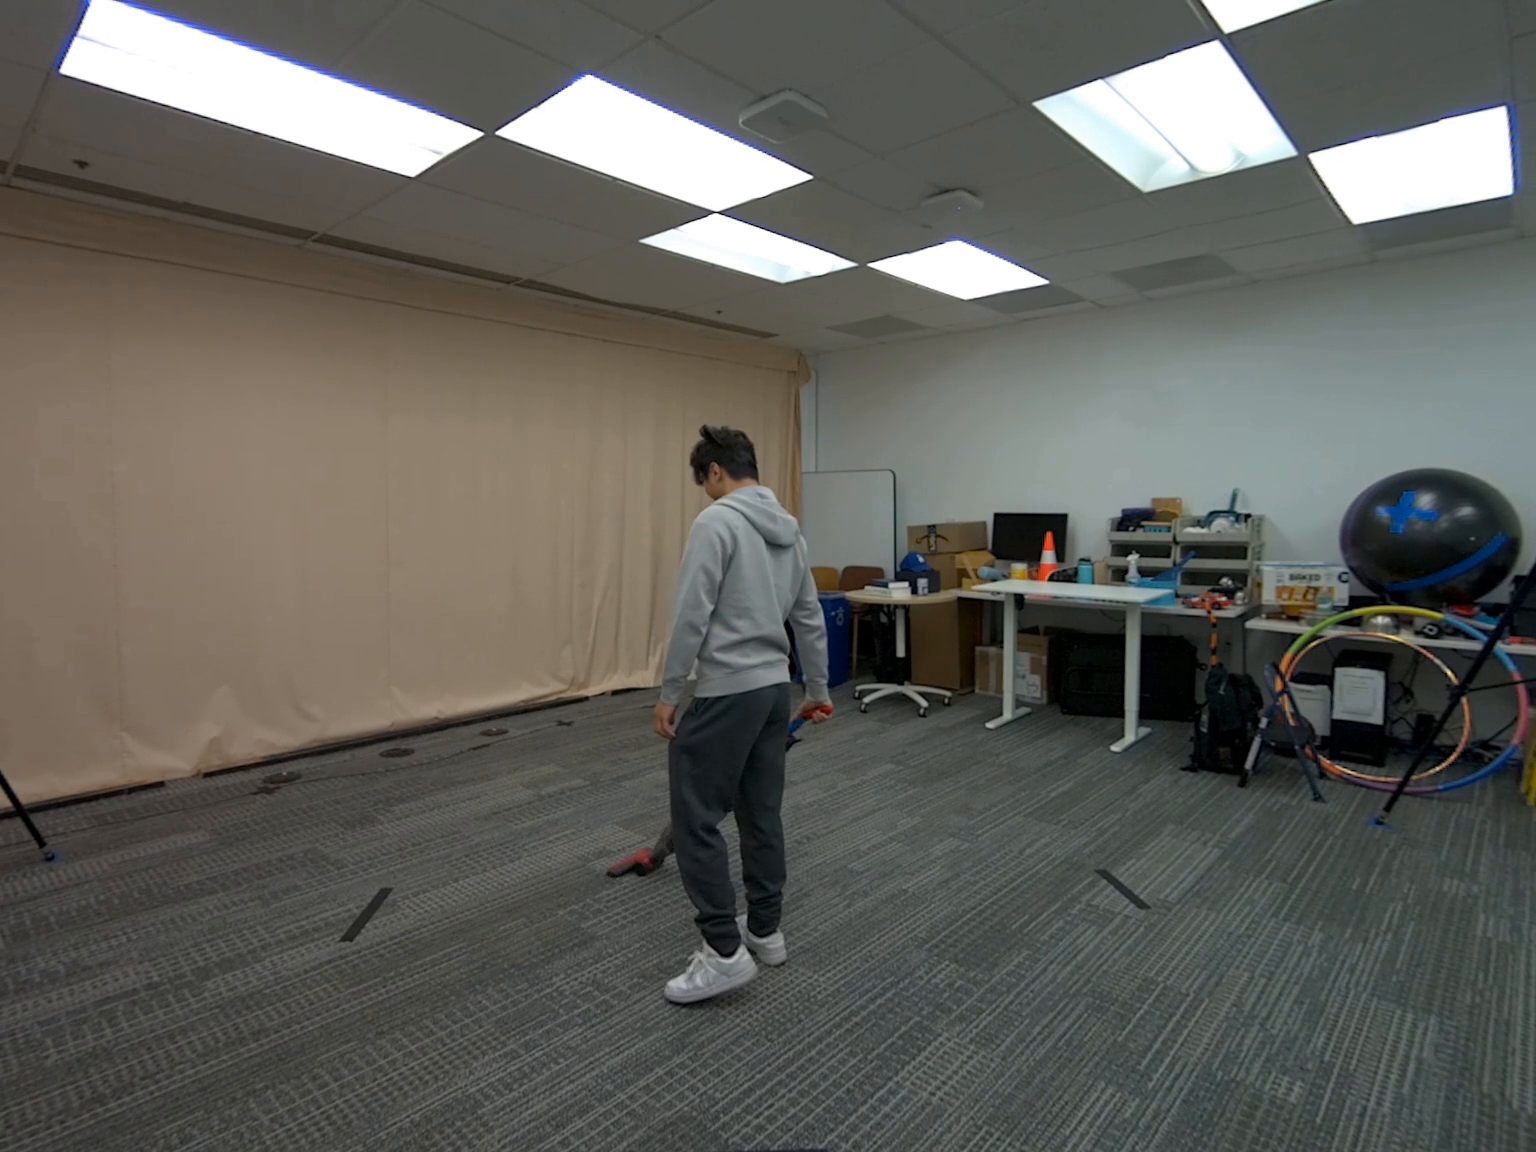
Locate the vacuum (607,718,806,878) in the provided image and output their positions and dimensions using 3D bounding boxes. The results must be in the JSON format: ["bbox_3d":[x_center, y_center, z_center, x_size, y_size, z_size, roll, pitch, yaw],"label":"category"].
[{"bbox_3d":[-0.165,0.783,3.030,1.057,0.147,0.246,-43,-18,25],"label":"vacuum"}]
